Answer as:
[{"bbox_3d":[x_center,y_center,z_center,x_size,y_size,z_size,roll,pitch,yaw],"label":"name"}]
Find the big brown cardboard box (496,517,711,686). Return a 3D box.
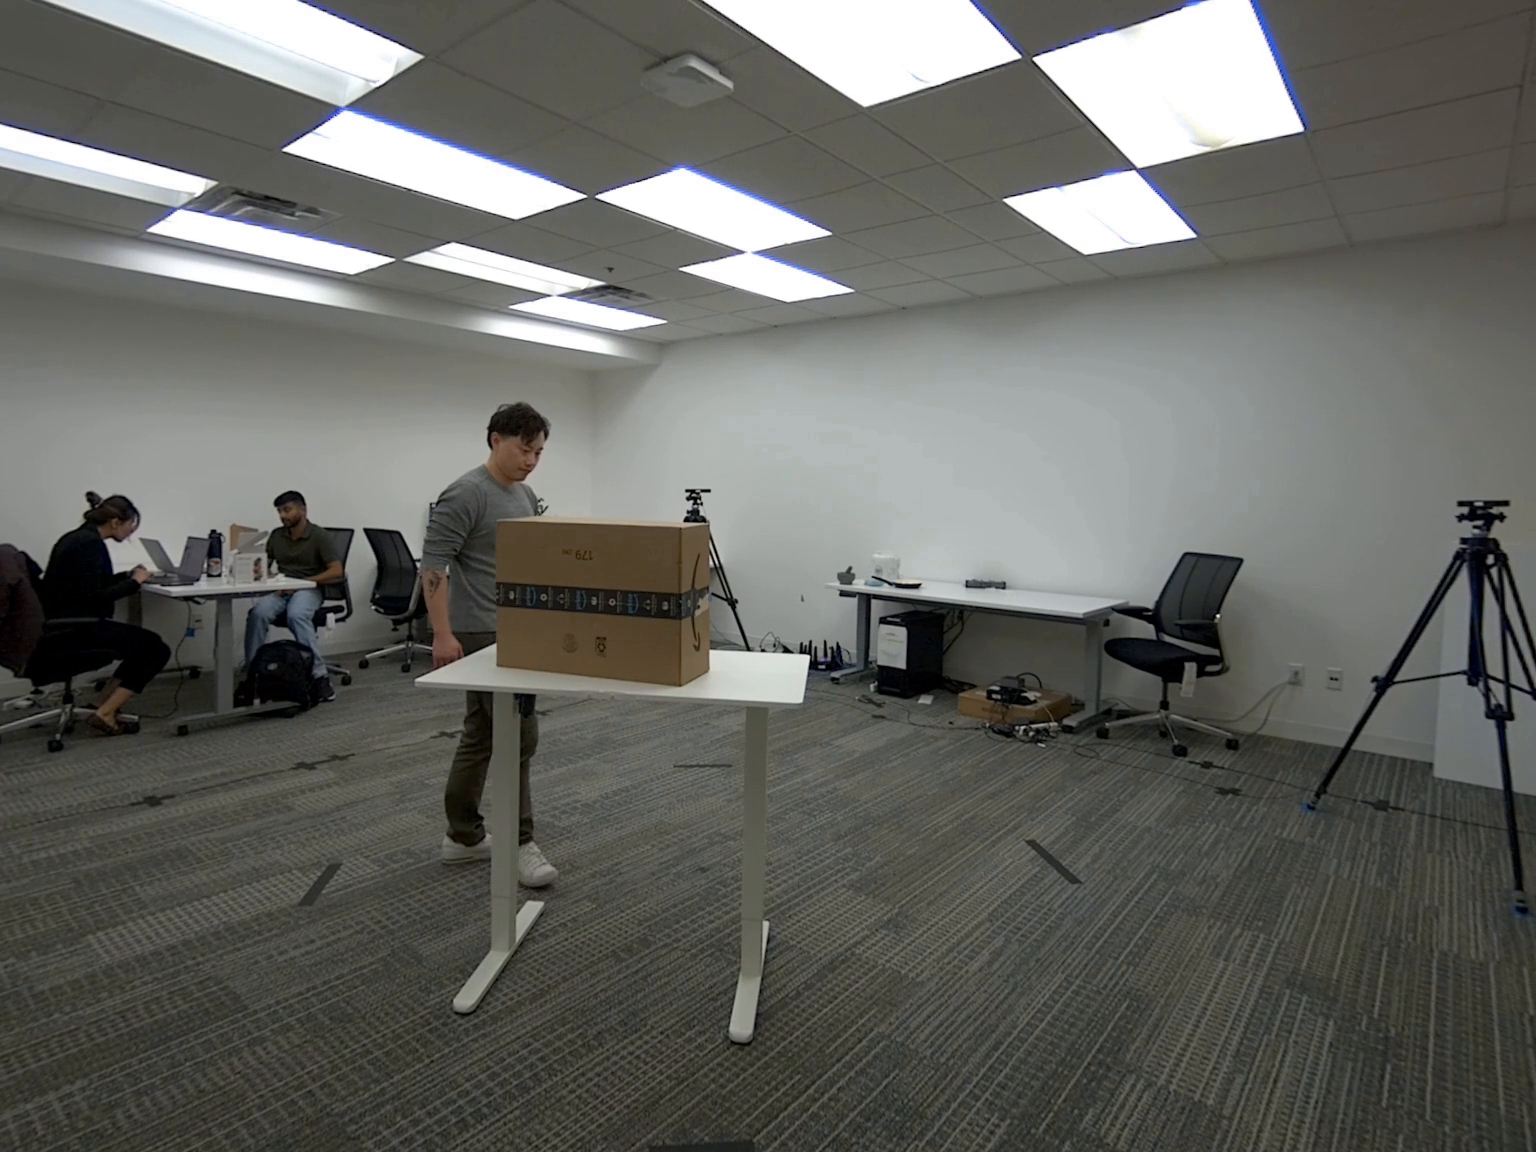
[{"bbox_3d":[-0.475,0.054,2.380,0.602,0.415,0.229,3,6,20],"label":"big brown cardboard box"}]
